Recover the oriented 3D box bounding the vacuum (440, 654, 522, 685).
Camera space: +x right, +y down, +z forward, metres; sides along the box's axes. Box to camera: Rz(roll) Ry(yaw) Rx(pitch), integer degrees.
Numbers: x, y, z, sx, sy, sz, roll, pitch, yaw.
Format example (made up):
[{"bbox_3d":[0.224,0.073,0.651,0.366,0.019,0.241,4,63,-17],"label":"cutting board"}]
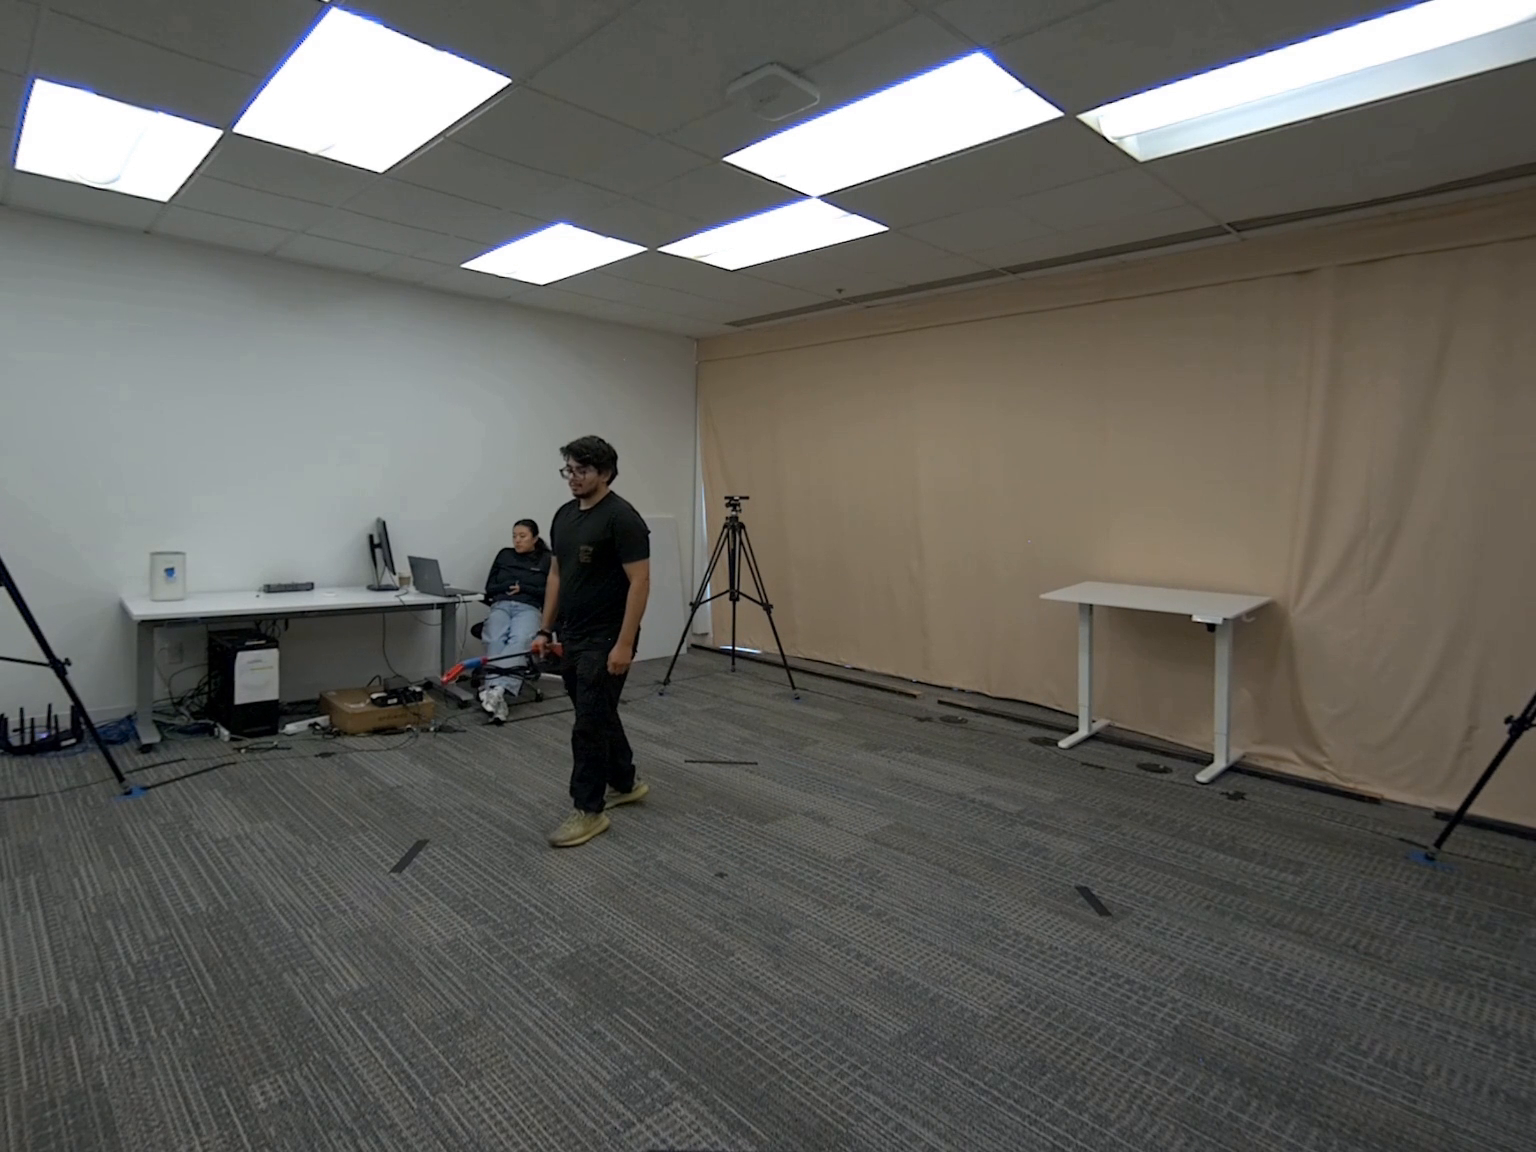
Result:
[{"bbox_3d":[-1.009,0.367,3.540,0.256,0.143,1.036,13,5,15],"label":"vacuum"}]
